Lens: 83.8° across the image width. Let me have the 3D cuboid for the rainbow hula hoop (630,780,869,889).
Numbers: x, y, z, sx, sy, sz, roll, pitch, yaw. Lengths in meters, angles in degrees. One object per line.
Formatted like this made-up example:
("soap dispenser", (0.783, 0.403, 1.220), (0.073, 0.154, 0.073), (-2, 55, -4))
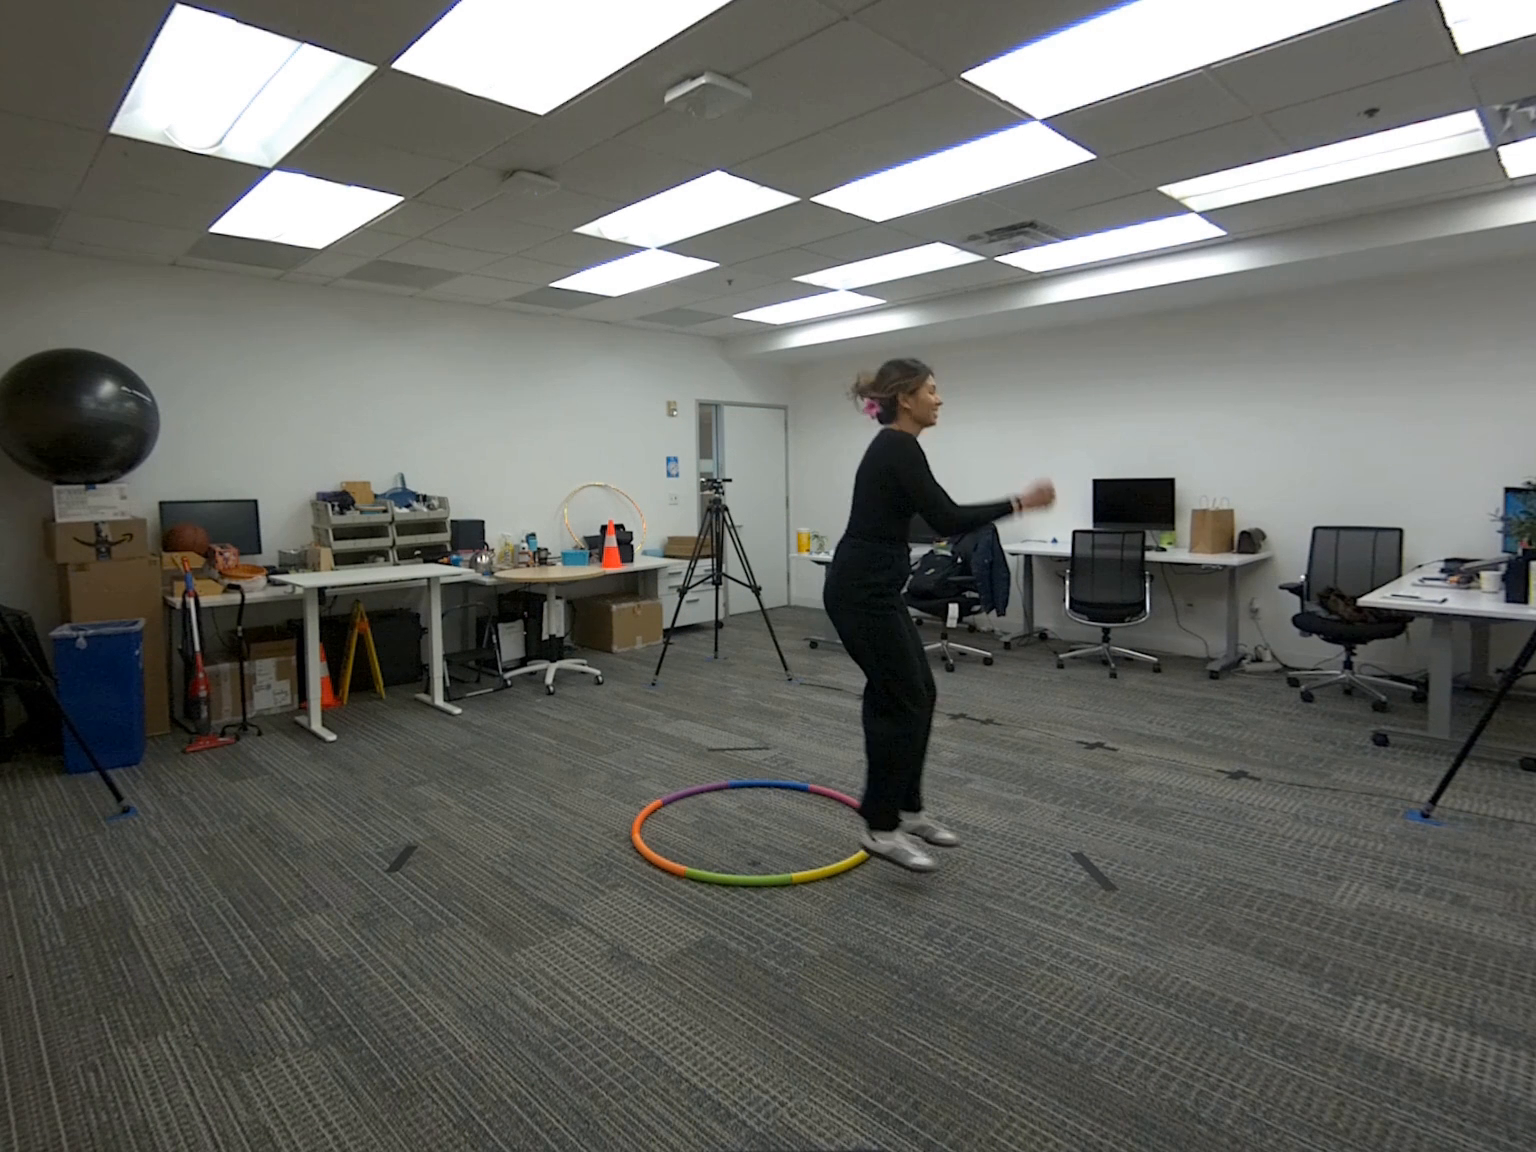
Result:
("rainbow hula hoop", (-0.045, 0.981, 3.400), (0.978, 0.035, 0.984), (-1, 6, -2))
